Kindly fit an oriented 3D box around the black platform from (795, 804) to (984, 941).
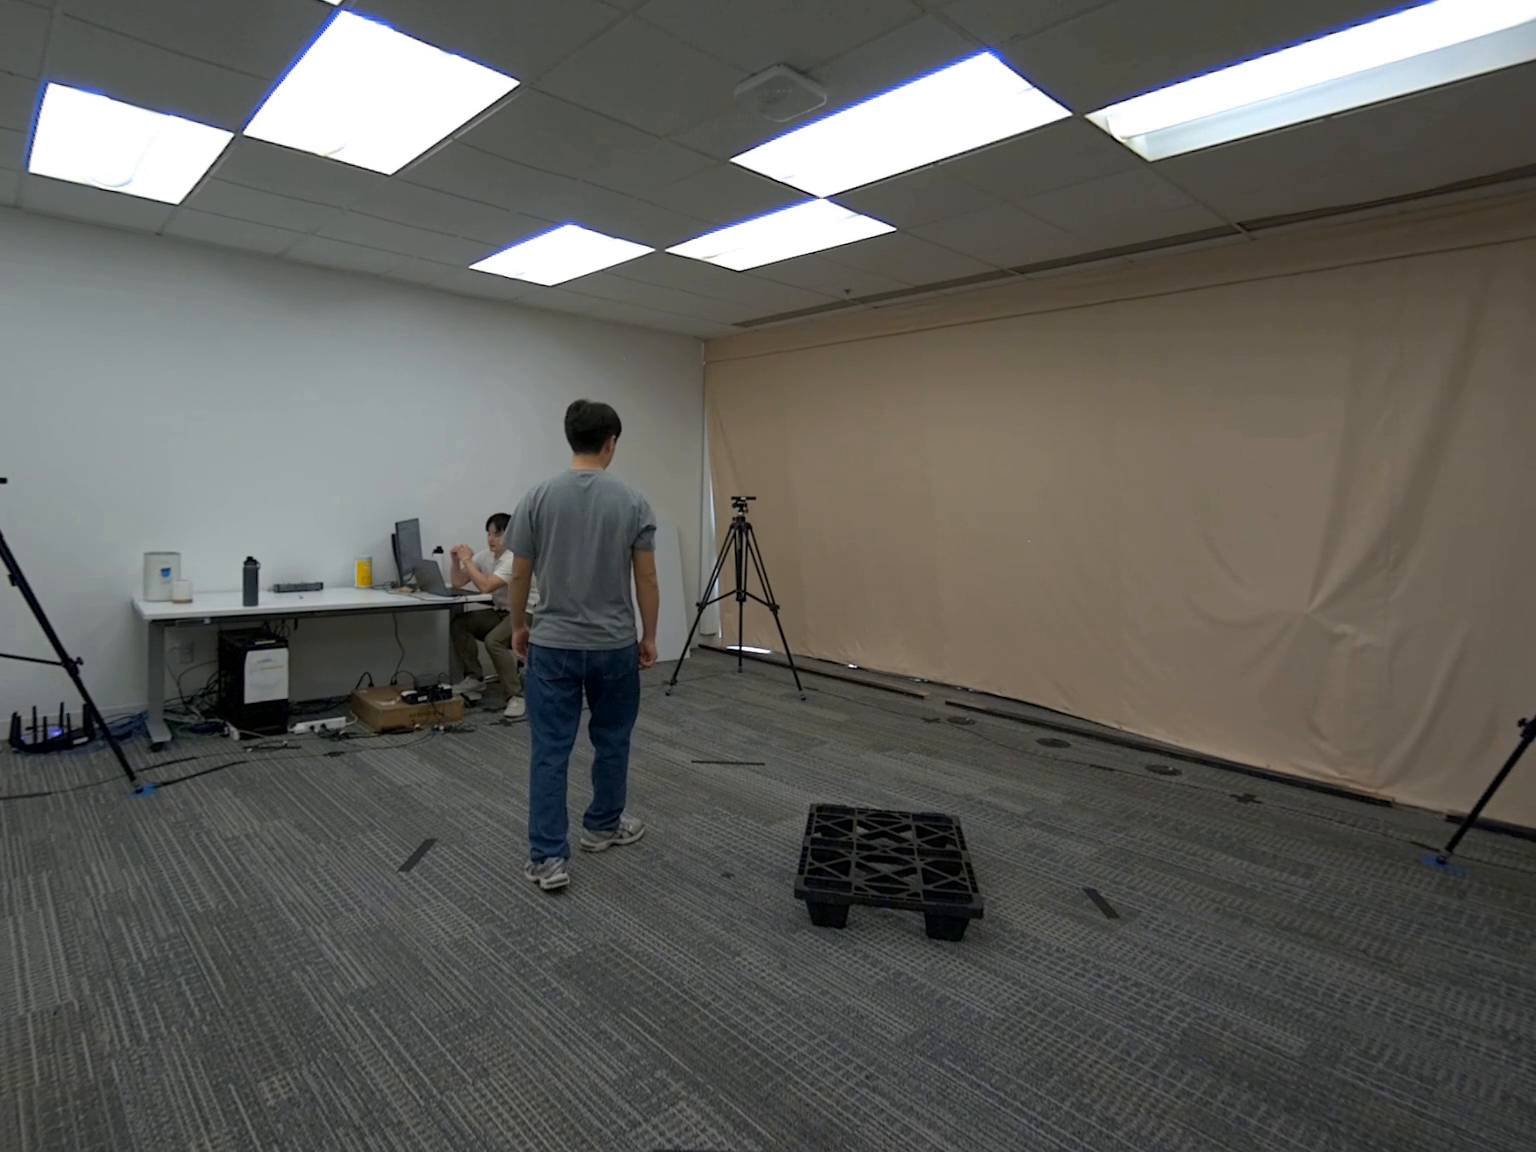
[{"bbox_3d":[0.410,1.052,3.061,0.609,0.143,0.802,2,5,8],"label":"black platform"}]
